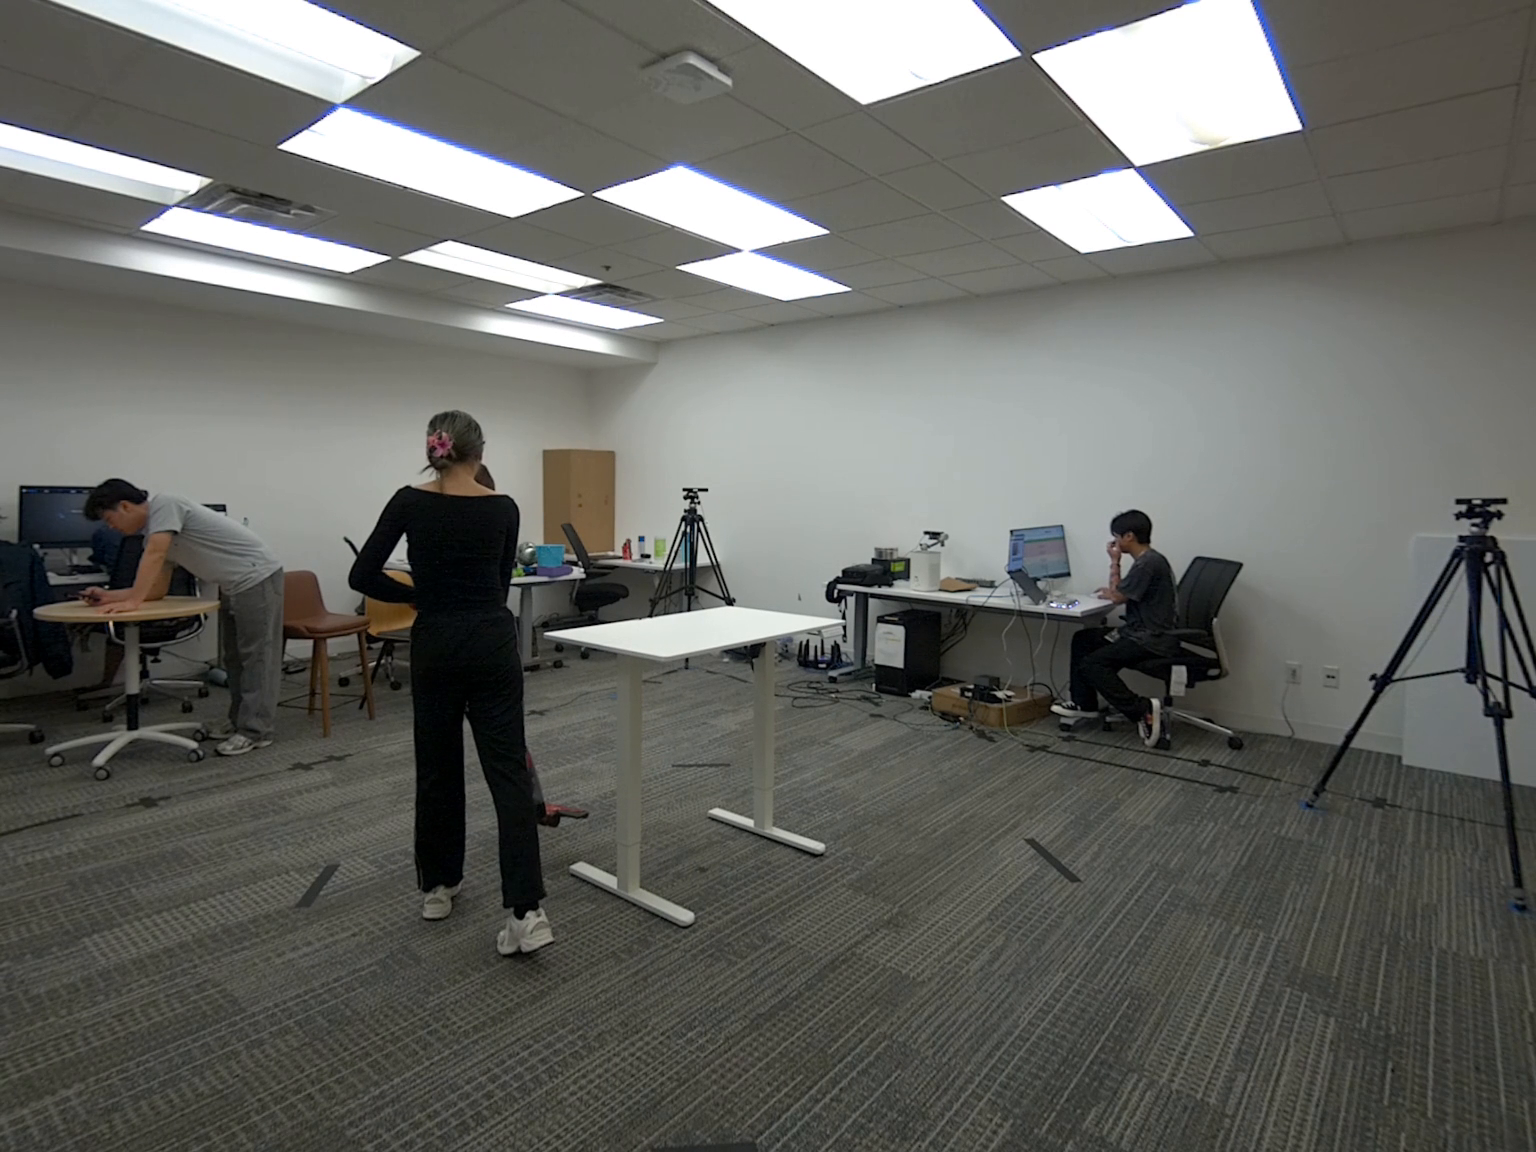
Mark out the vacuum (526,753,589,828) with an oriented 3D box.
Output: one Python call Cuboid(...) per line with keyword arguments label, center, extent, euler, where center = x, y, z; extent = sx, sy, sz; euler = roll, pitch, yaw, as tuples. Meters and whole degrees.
Cuboid(label="vacuum", center=(-0.976, 0.491, 2.972), extent=(0.258, 1.017, 0.145), euler=(-6, 30, 26))
